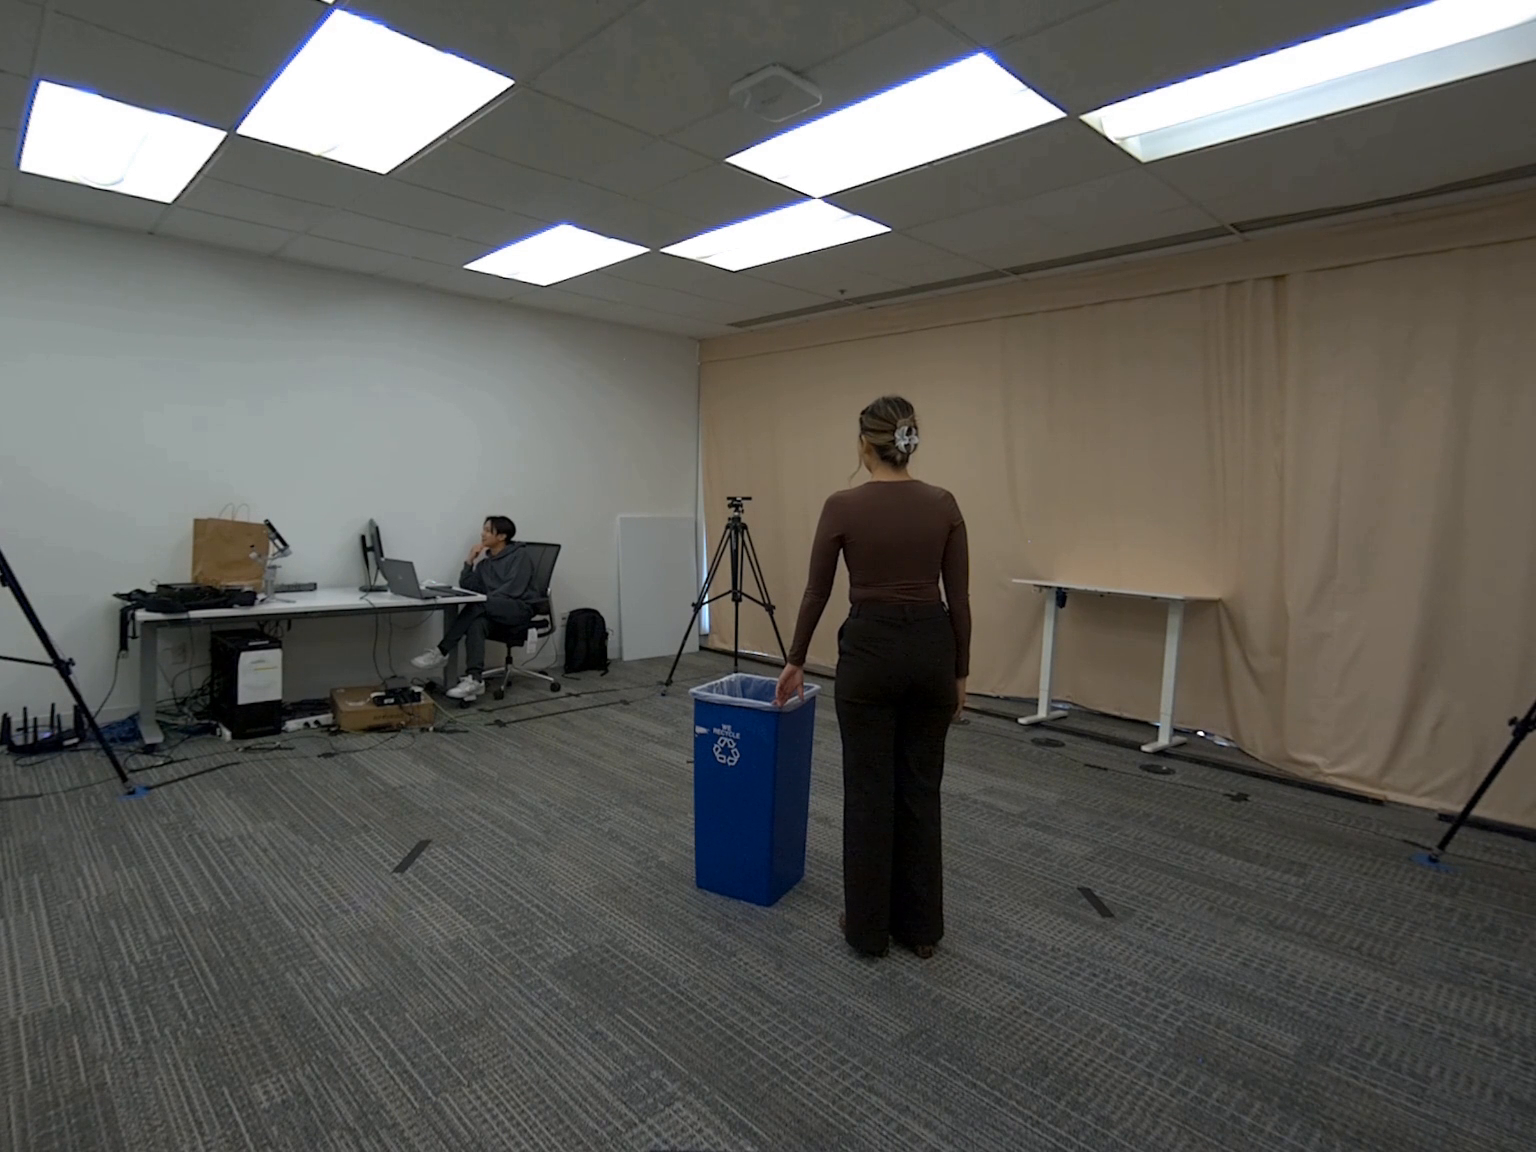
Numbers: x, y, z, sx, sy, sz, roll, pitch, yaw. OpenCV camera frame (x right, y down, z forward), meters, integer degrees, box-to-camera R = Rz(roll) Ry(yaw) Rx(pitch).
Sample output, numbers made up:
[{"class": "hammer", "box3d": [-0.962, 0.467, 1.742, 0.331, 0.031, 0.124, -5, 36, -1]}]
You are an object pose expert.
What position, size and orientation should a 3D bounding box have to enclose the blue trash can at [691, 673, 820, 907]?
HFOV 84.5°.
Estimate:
[{"class": "blue trash can", "box3d": [-0.054, 0.754, 3.044, 0.382, 0.712, 0.371, 3, 4, 28]}]
